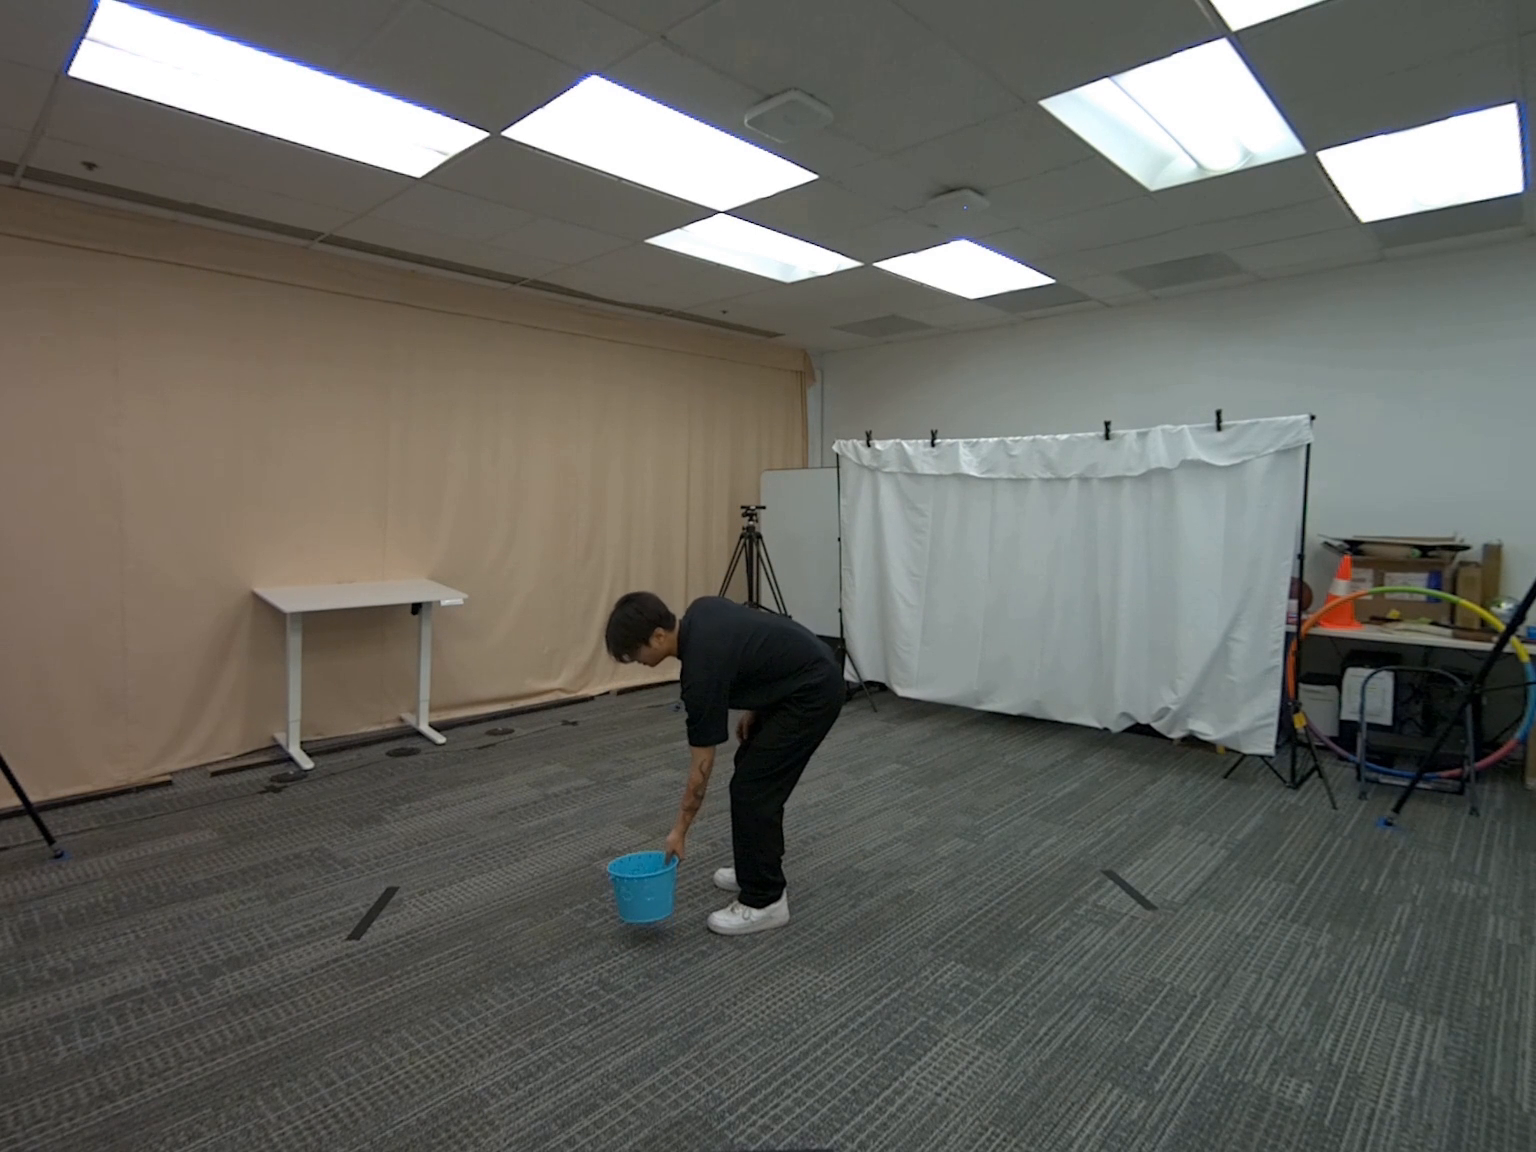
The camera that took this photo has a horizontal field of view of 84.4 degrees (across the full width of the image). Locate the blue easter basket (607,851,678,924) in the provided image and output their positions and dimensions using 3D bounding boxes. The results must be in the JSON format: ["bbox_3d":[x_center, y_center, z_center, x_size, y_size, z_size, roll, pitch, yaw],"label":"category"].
[{"bbox_3d":[-0.394,1.002,2.716,0.243,0.156,0.244,-4,0,-2],"label":"blue easter basket"}]
